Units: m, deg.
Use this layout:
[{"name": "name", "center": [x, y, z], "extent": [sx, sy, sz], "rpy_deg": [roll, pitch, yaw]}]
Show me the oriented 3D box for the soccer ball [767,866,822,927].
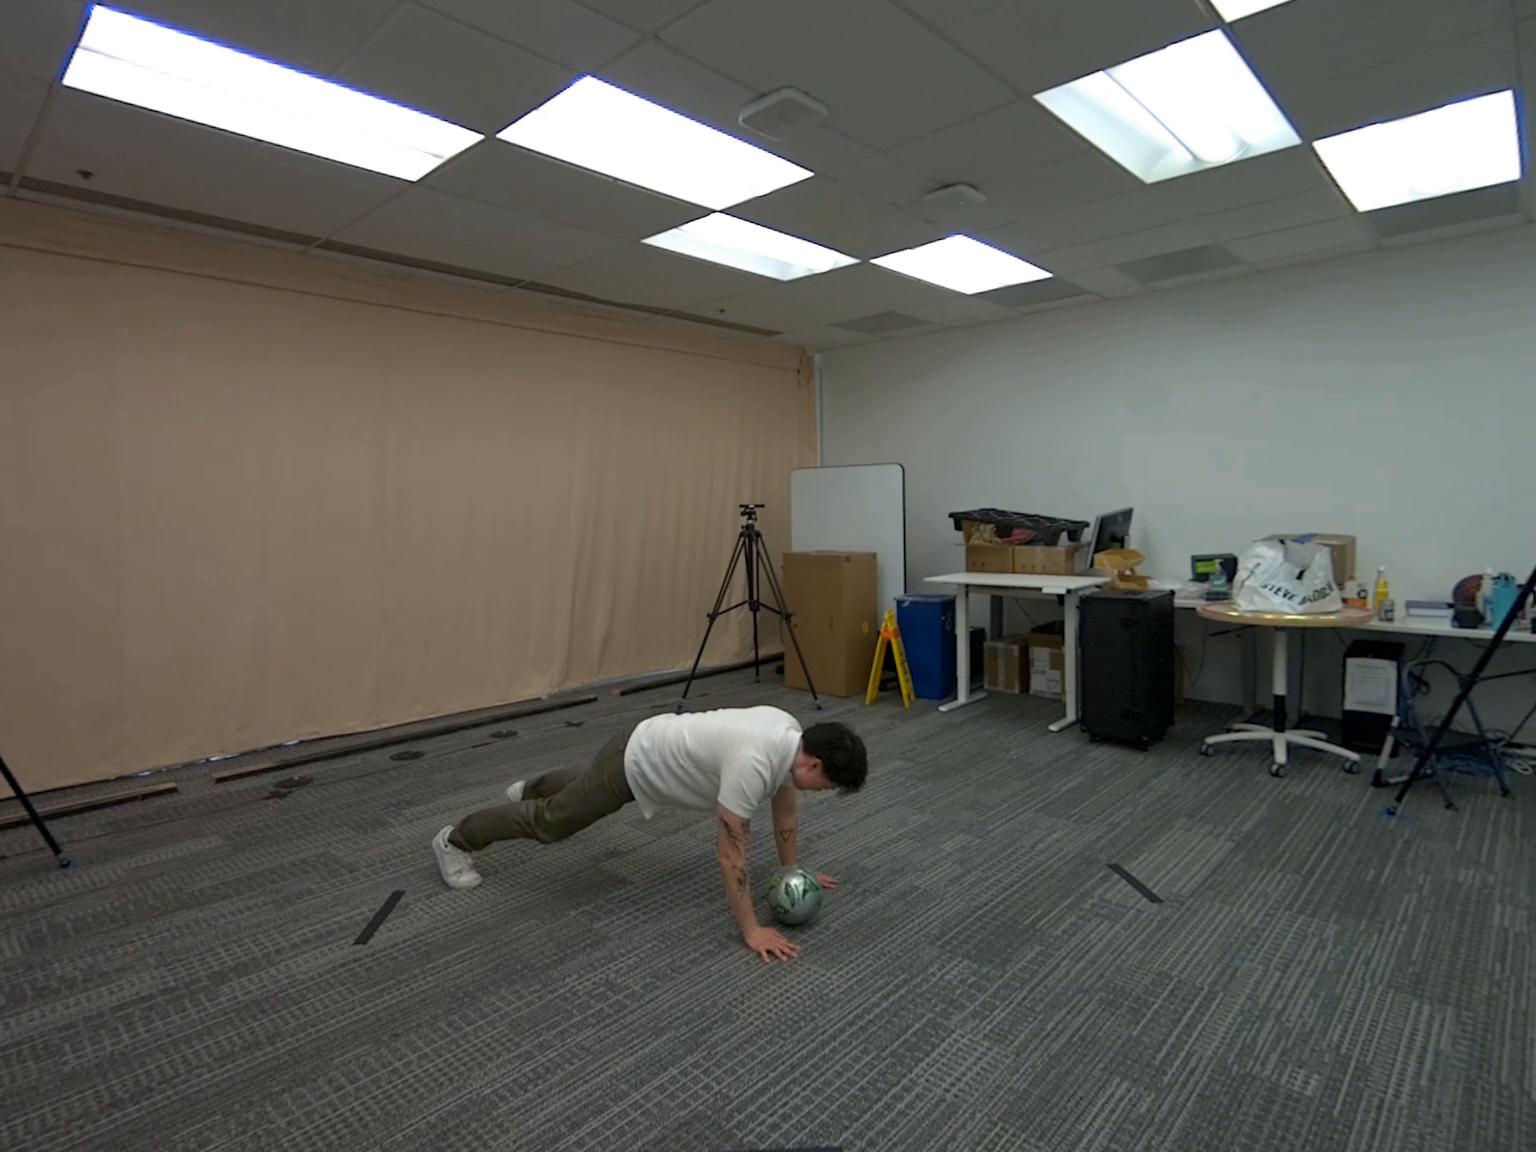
[{"name": "soccer ball", "center": [0.089, 1.054, 2.804], "extent": [0.187, 0.187, 0.188], "rpy_deg": [-1, 4, -2]}]
